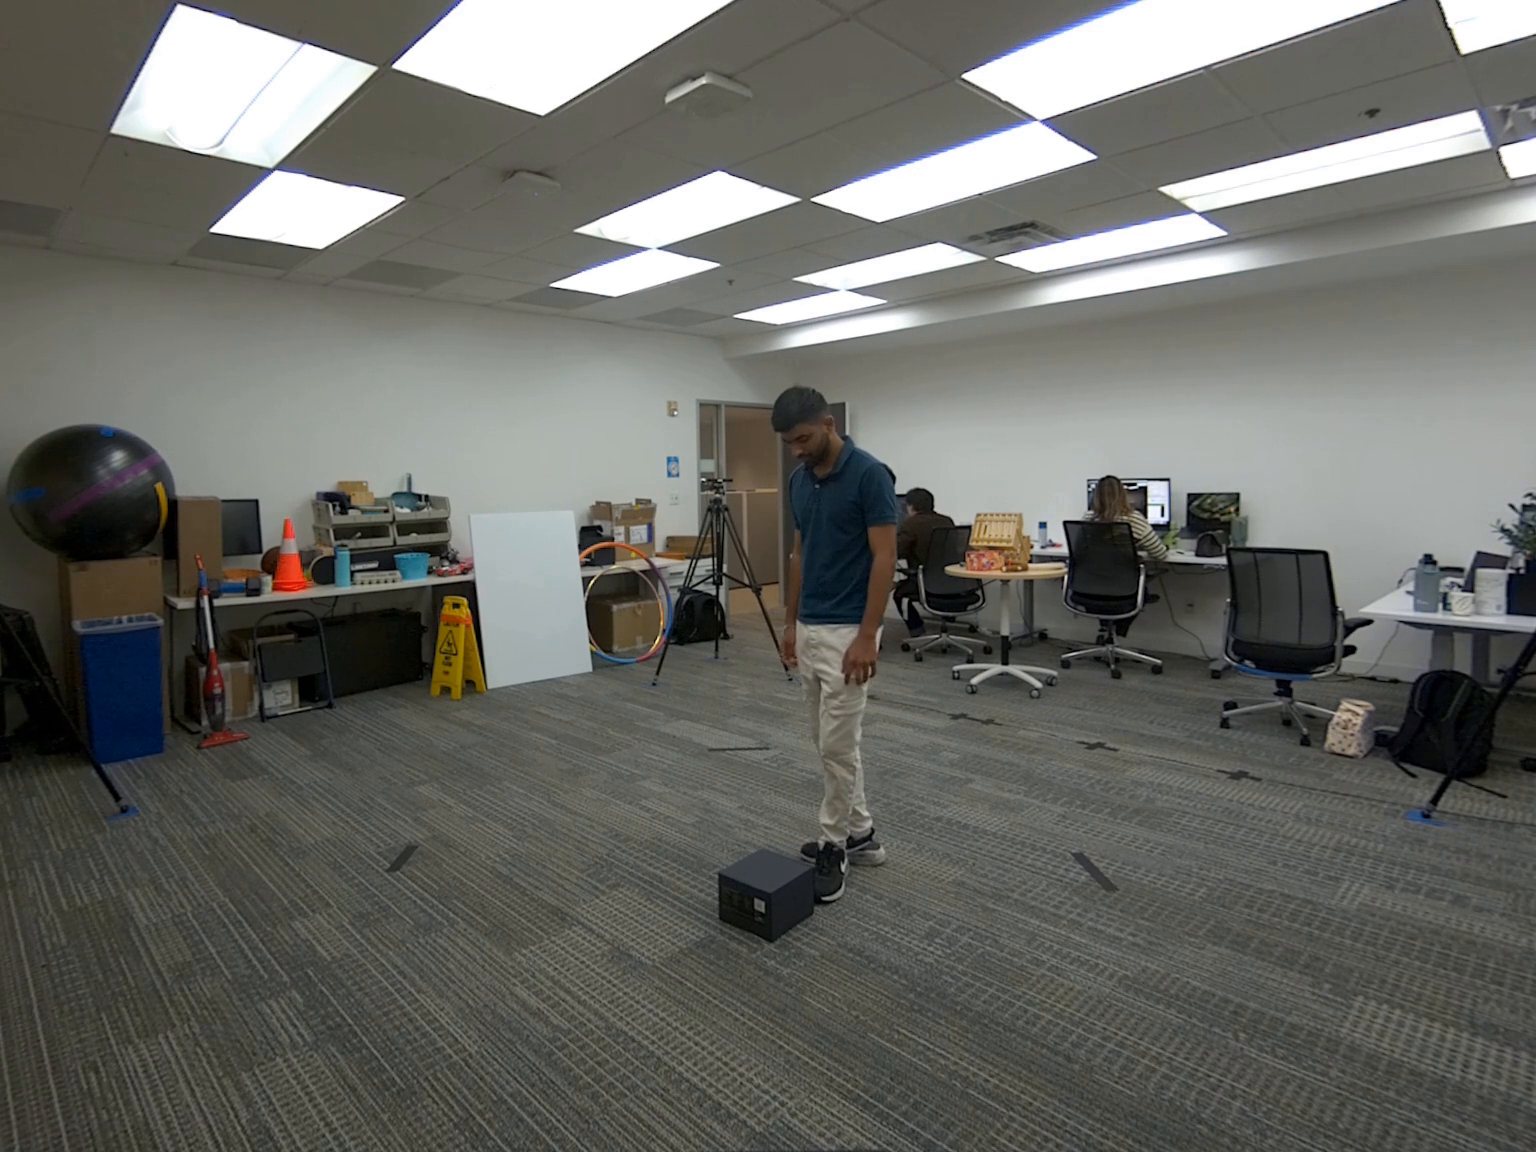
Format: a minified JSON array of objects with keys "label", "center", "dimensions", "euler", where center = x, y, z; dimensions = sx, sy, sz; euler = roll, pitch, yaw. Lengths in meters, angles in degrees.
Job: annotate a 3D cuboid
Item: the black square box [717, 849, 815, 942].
[{"label":"black square box","center":[-0.001,1.005,2.719],"dimensions":[0.223,0.155,0.222],"euler":[3,8,40]}]
